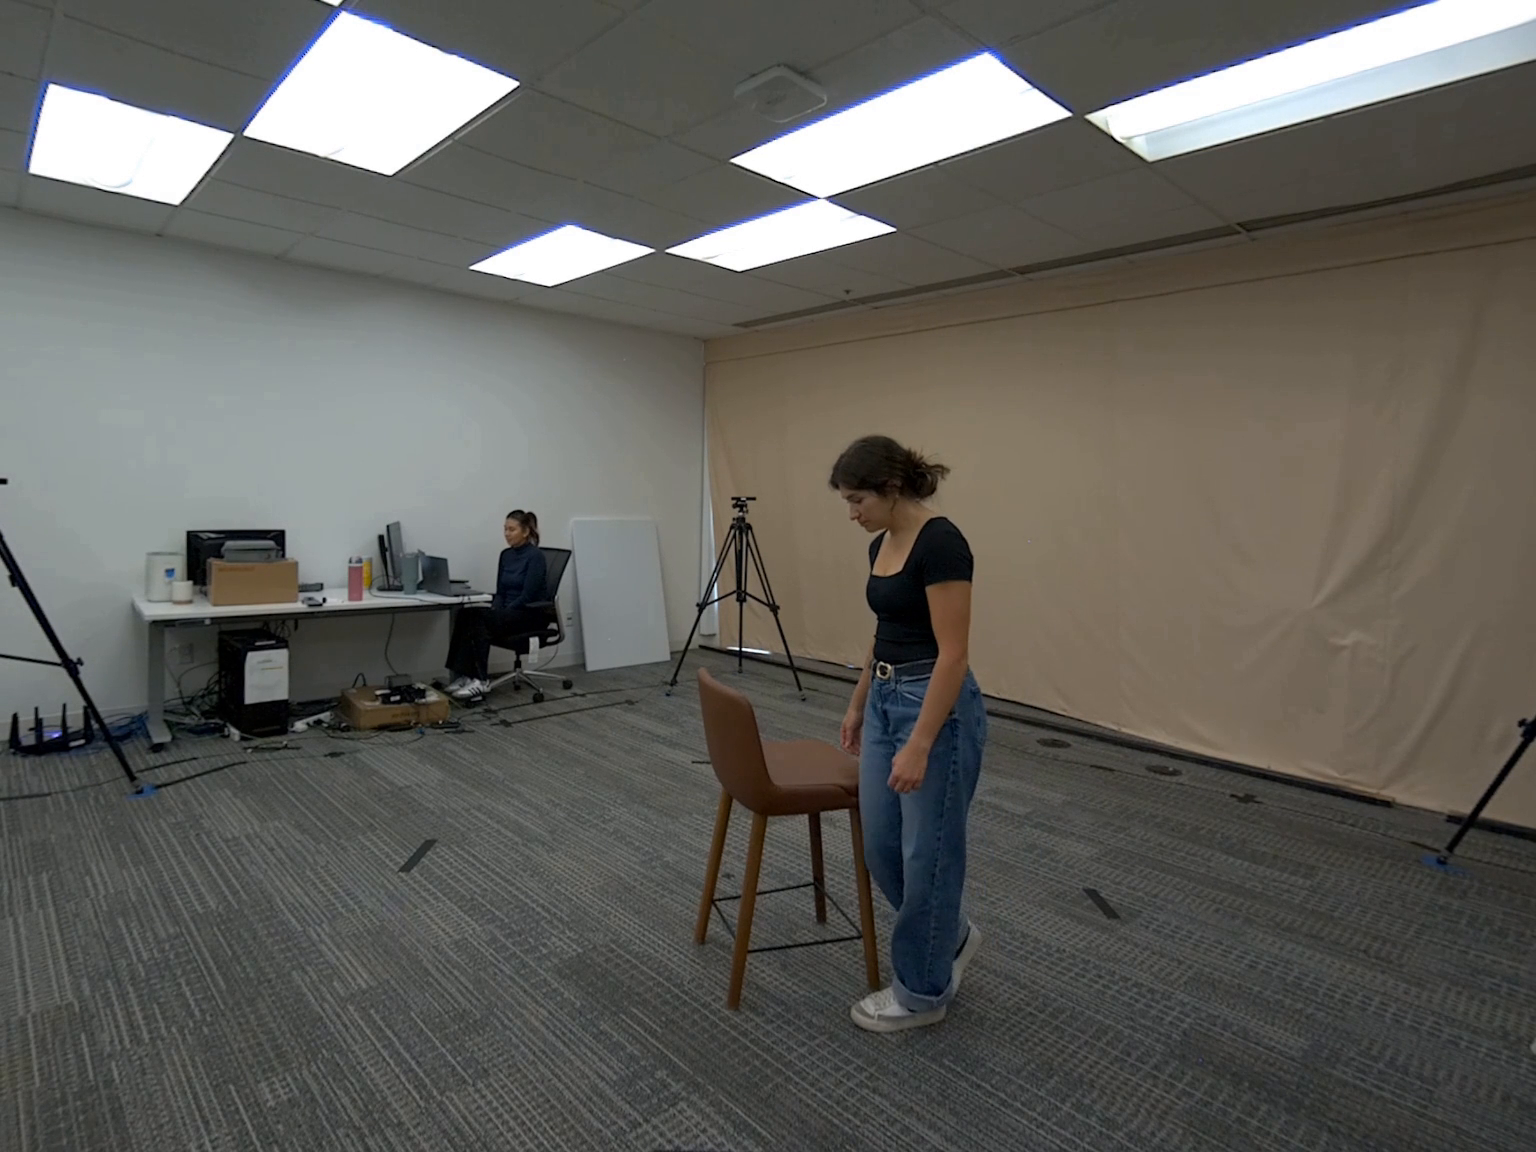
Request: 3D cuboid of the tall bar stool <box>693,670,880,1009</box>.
[{"bbox_3d":[0.044,0.731,2.504,0.461,0.887,0.464,-2,5,-19],"label":"tall bar stool"}]
